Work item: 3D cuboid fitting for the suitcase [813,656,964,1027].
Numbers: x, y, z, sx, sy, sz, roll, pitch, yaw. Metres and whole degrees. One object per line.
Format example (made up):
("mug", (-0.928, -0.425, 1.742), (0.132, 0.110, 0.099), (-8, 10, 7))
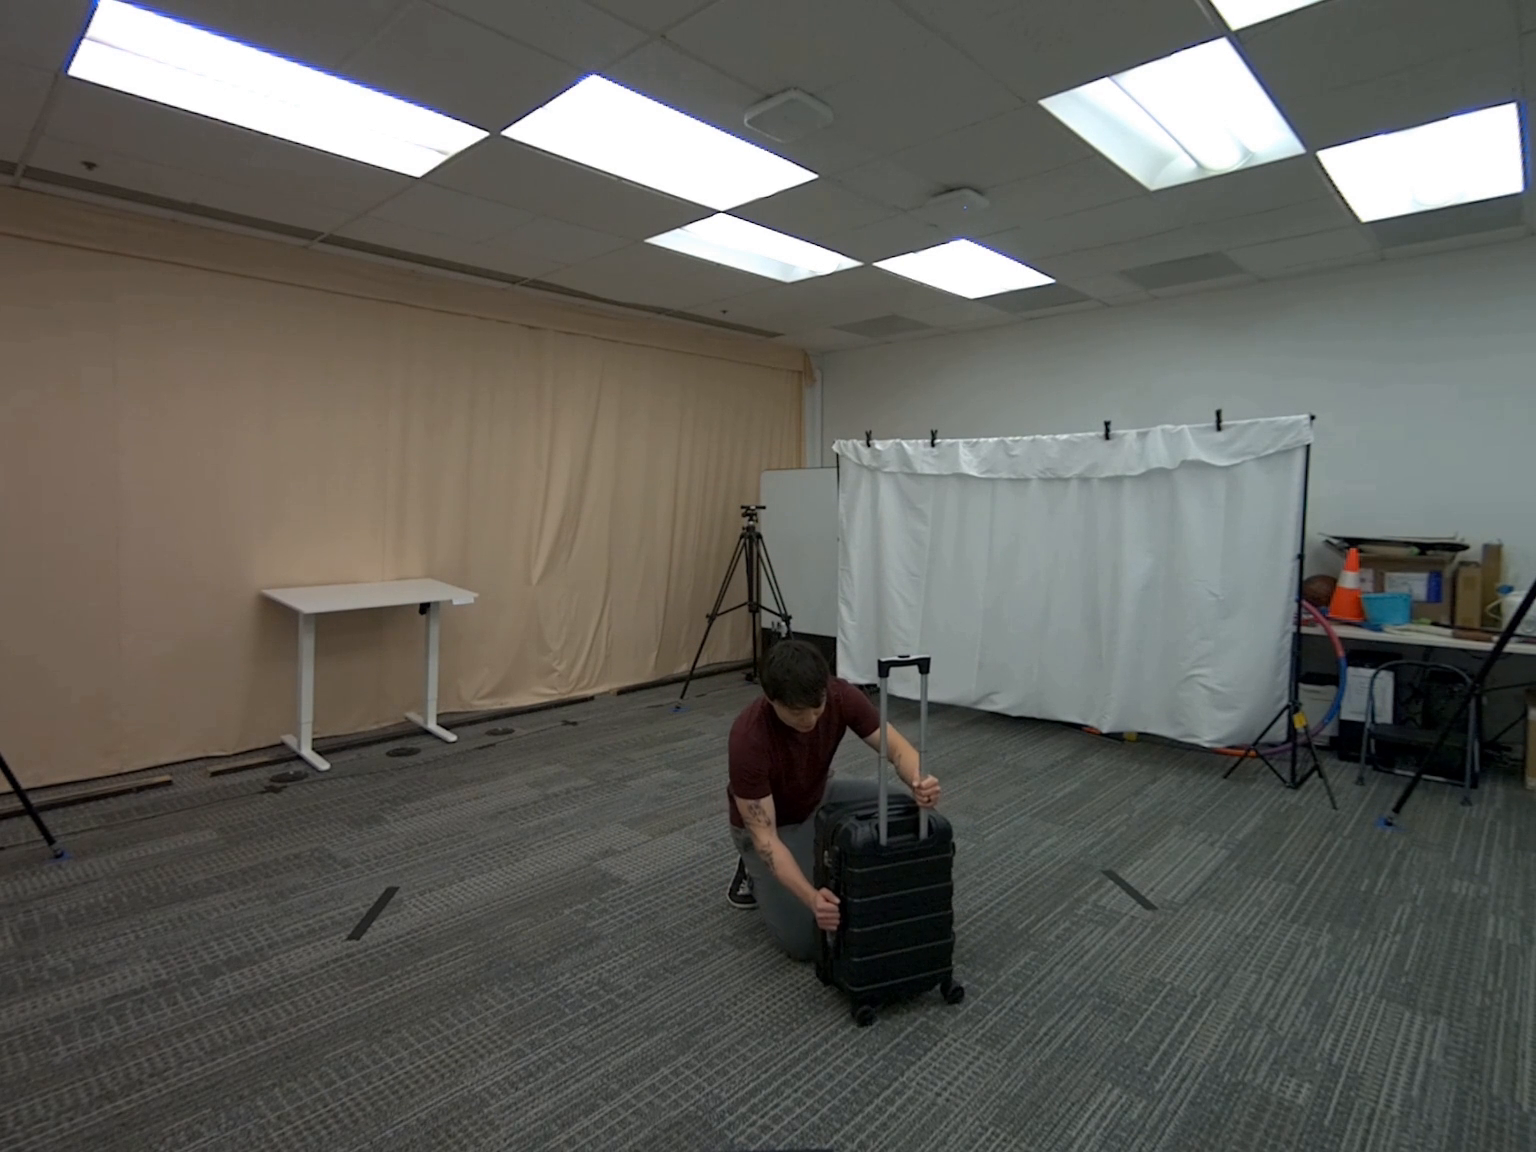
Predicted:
("suitcase", (0.328, 0.705, 2.391), (0.376, 0.977, 0.262), (-1, 2, -20))
